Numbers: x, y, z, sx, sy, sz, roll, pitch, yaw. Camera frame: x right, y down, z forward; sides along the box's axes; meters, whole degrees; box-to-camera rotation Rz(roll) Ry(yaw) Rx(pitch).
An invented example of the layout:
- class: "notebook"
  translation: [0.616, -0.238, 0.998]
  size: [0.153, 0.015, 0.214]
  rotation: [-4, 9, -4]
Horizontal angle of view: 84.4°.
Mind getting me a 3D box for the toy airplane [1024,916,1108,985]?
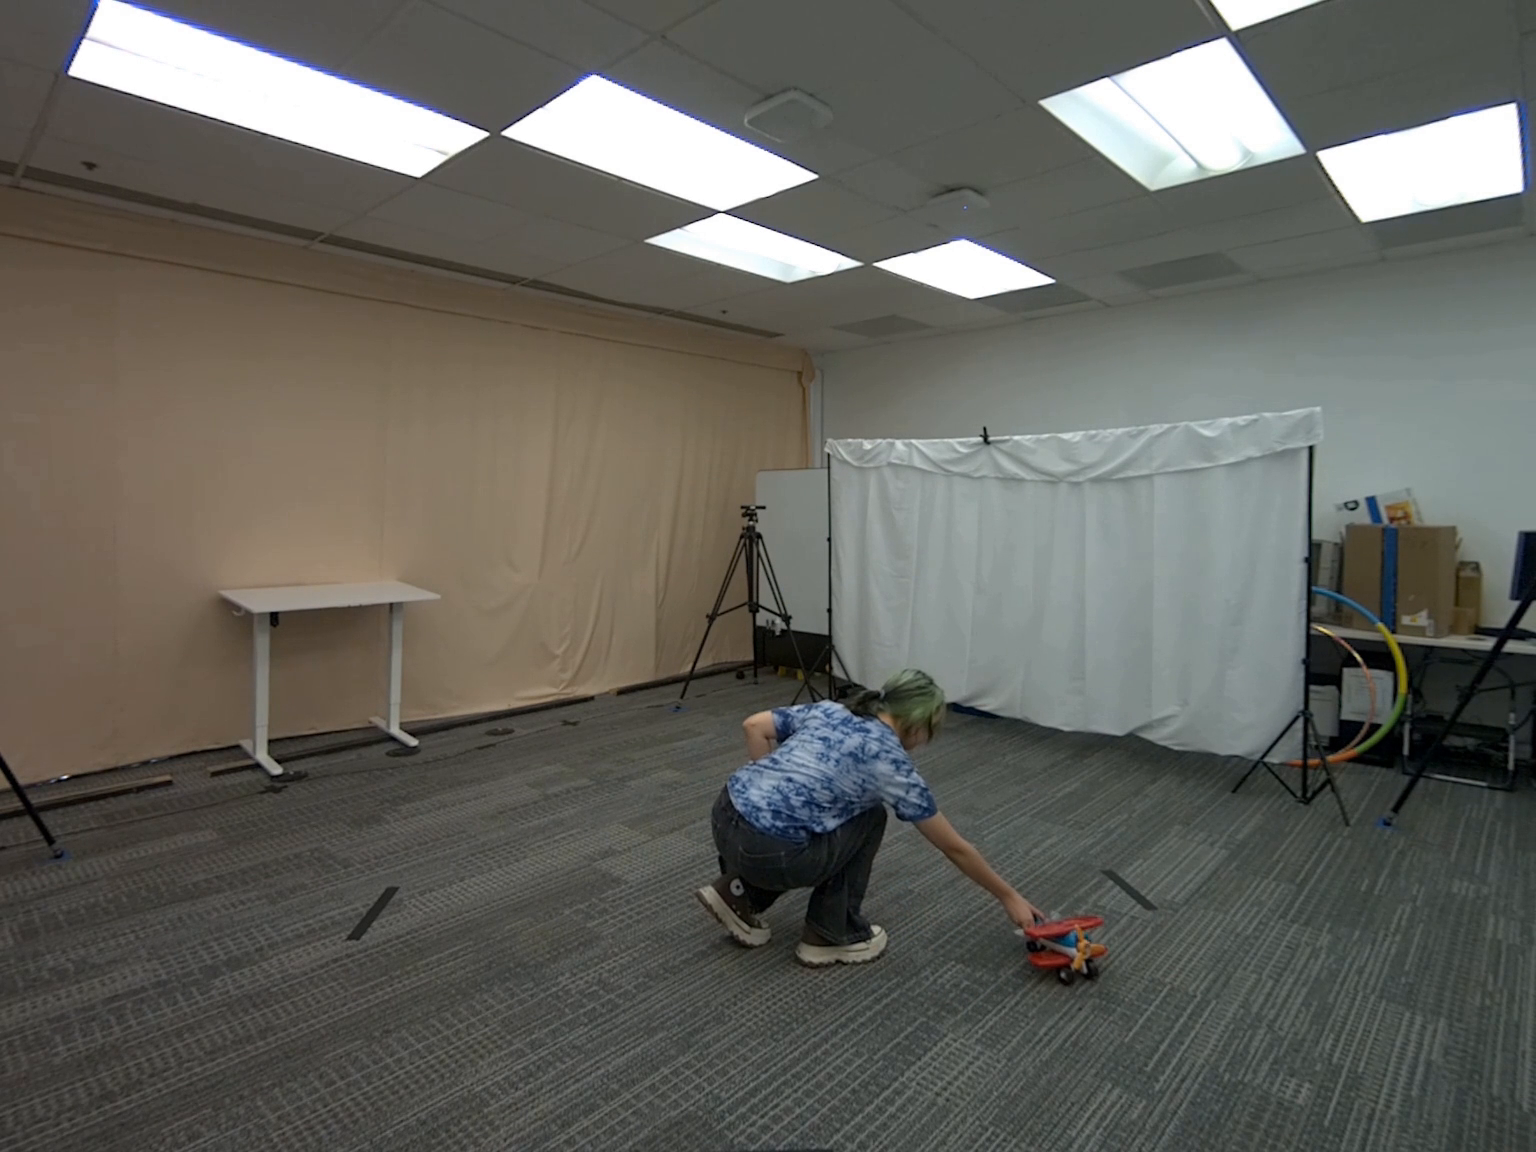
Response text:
- class: "toy airplane"
  translation: [0.867, 1.108, 2.531]
  size: [0.268, 0.156, 0.243]
  rotation: [5, 8, 42]
